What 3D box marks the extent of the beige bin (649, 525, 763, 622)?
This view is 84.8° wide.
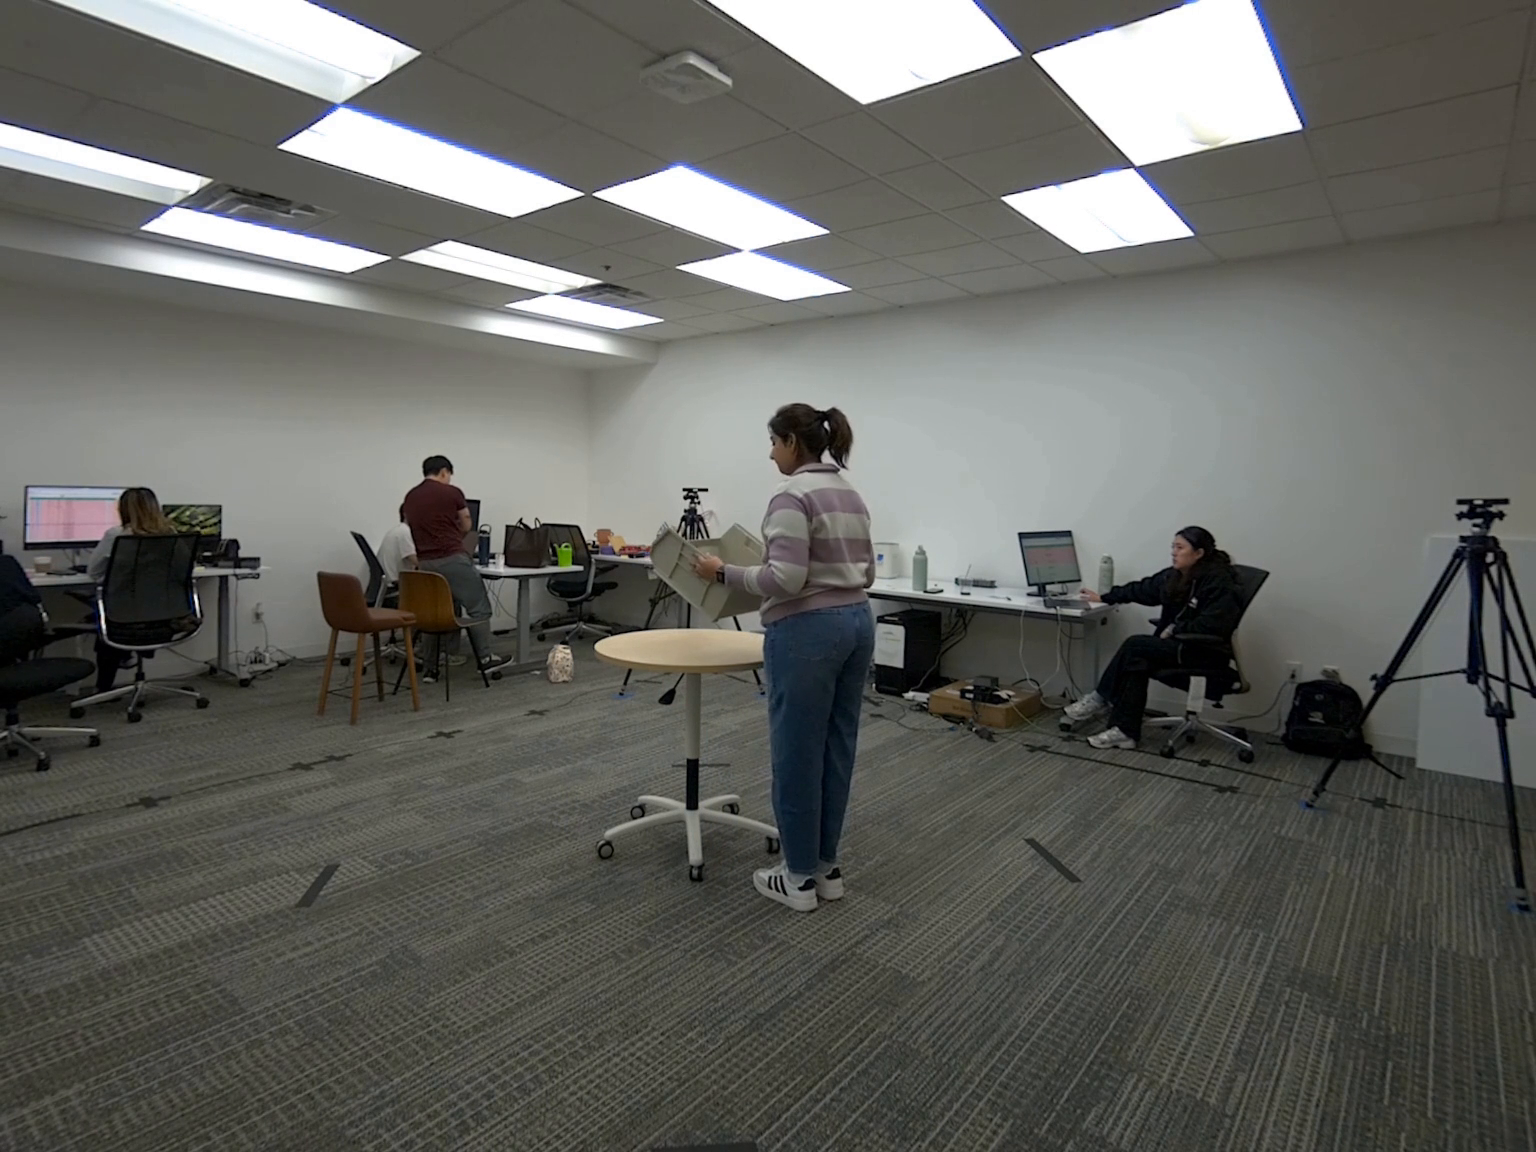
[{"bbox_3d":[-0.177,-0.030,3.104,0.391,0.187,0.411,38,24,26],"label":"beige bin"}]
